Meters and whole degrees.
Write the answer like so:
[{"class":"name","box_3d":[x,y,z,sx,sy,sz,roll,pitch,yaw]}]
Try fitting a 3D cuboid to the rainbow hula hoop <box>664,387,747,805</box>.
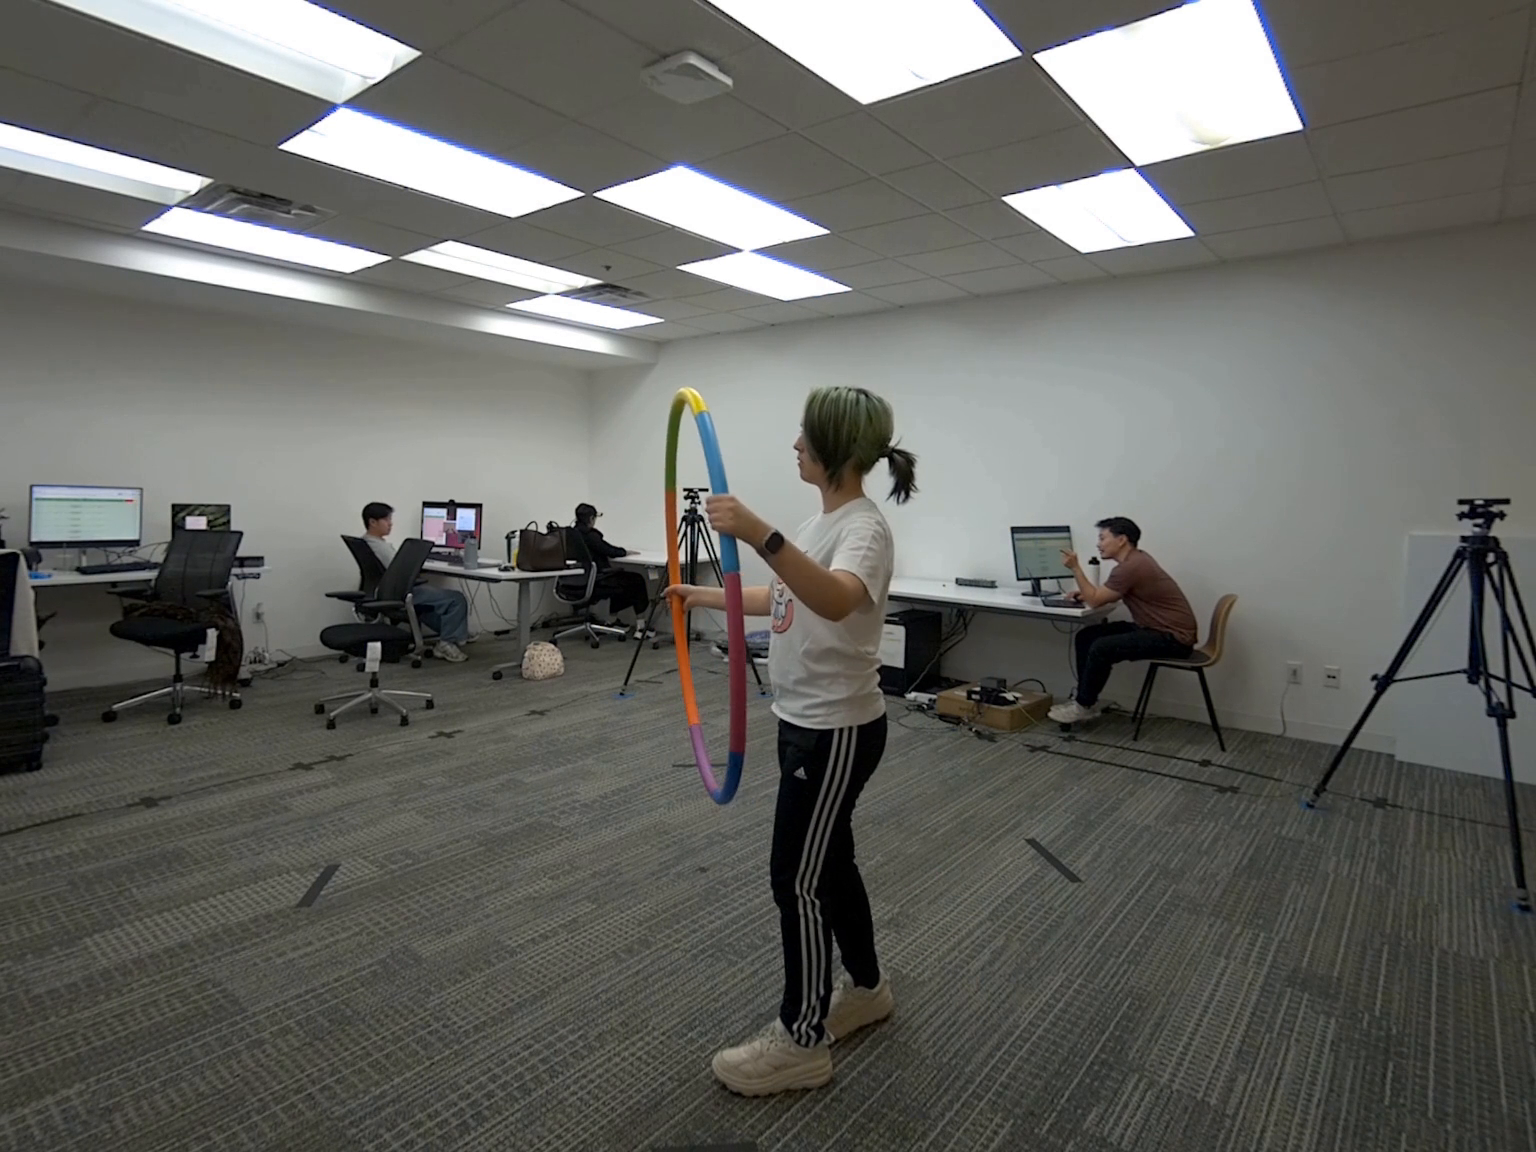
[{"class":"rainbow hula hoop","box_3d":[-0.162,0.047,2.057,0.035,0.974,0.994,-5,5,-13]}]
